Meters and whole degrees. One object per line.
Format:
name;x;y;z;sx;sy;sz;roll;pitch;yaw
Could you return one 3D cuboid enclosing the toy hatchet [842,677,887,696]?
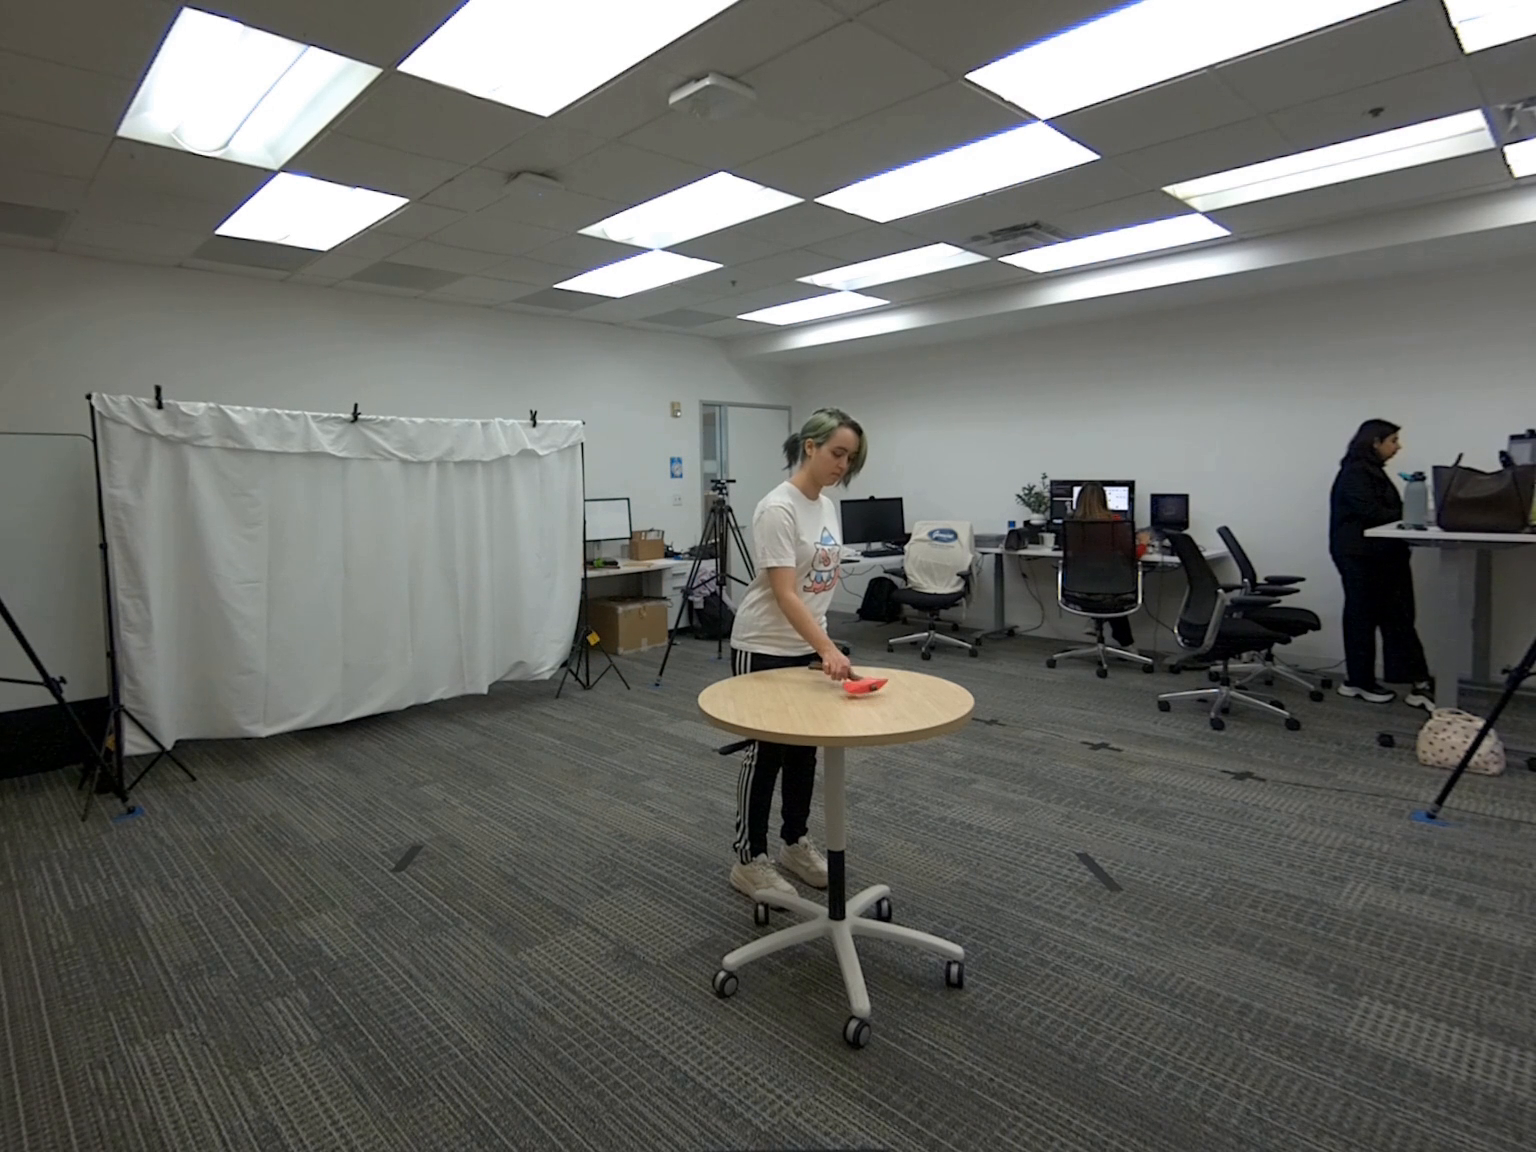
toy hatchet;0.198;0.289;2.462;0.129;0.029;0.278;-22;19;-41
